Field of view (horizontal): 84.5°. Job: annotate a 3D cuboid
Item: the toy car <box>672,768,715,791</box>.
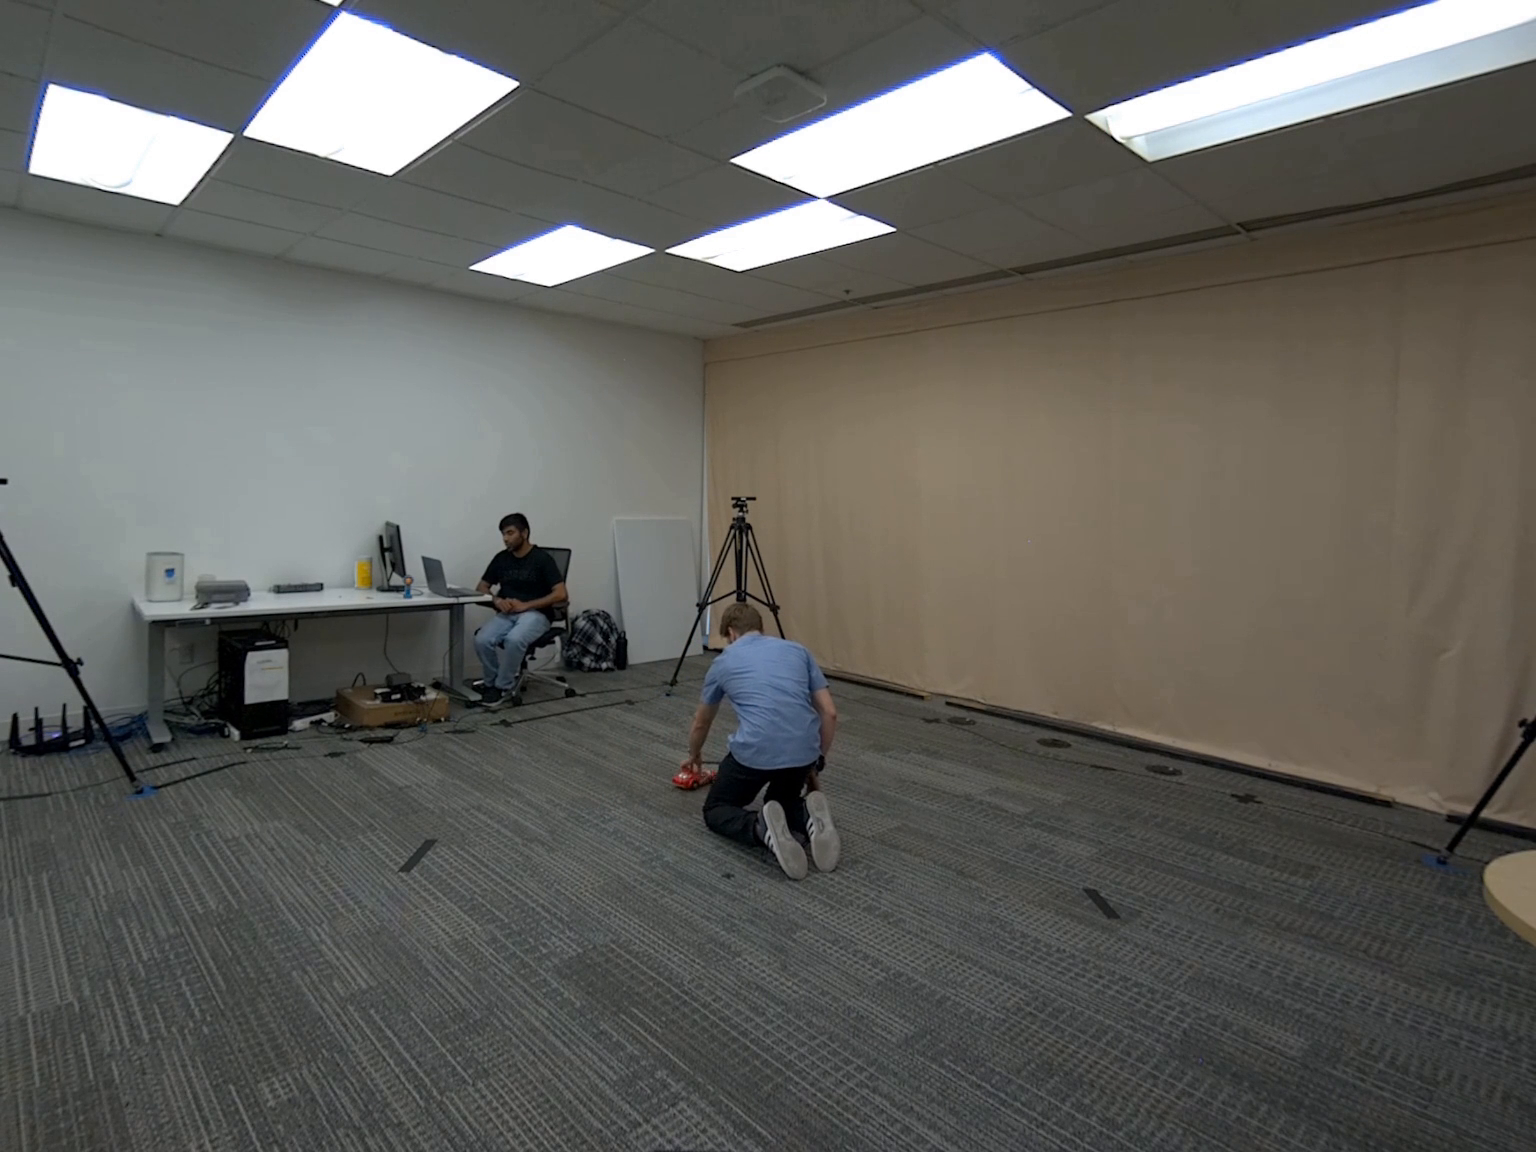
[{"bbox_3d":[-0.370,0.987,4.085,0.133,0.083,0.247,5,-6,38],"label":"toy car"}]
